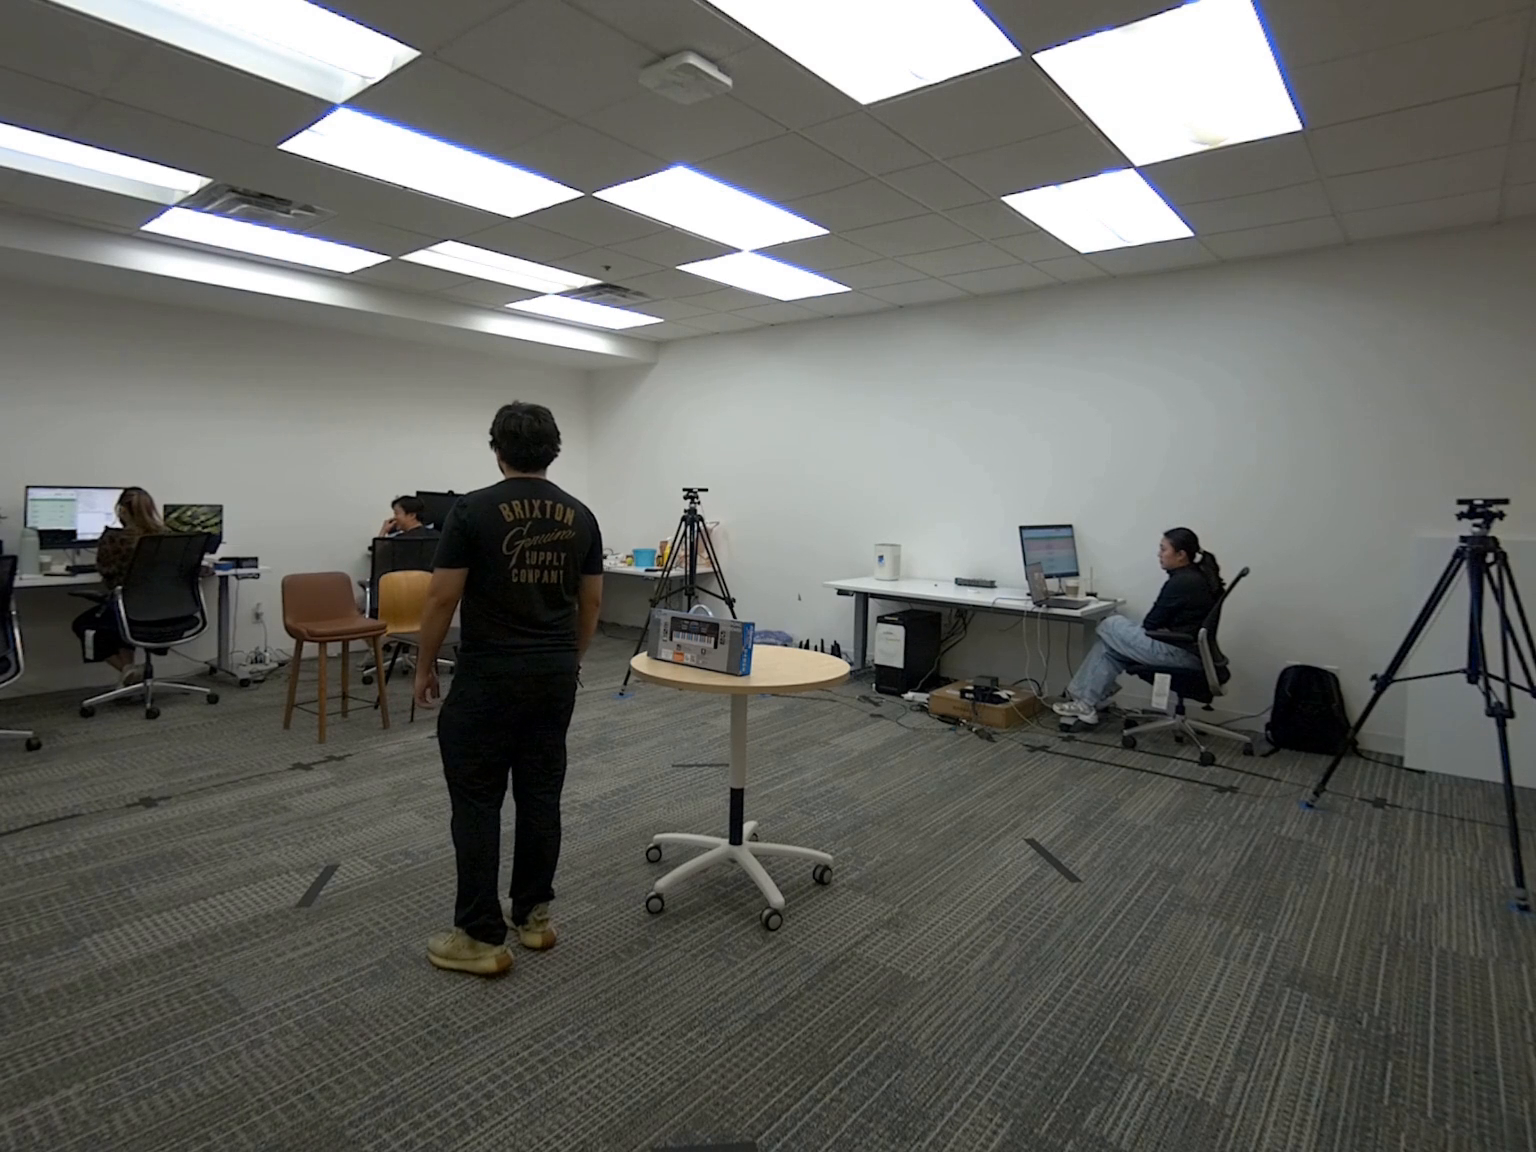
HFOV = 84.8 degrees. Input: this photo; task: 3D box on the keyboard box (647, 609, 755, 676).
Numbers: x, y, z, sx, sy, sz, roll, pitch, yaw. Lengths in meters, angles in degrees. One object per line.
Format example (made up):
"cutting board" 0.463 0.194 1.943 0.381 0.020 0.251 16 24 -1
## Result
"keyboard box" -0.246 0.218 2.892 0.451 0.176 0.057 5 -1 41
